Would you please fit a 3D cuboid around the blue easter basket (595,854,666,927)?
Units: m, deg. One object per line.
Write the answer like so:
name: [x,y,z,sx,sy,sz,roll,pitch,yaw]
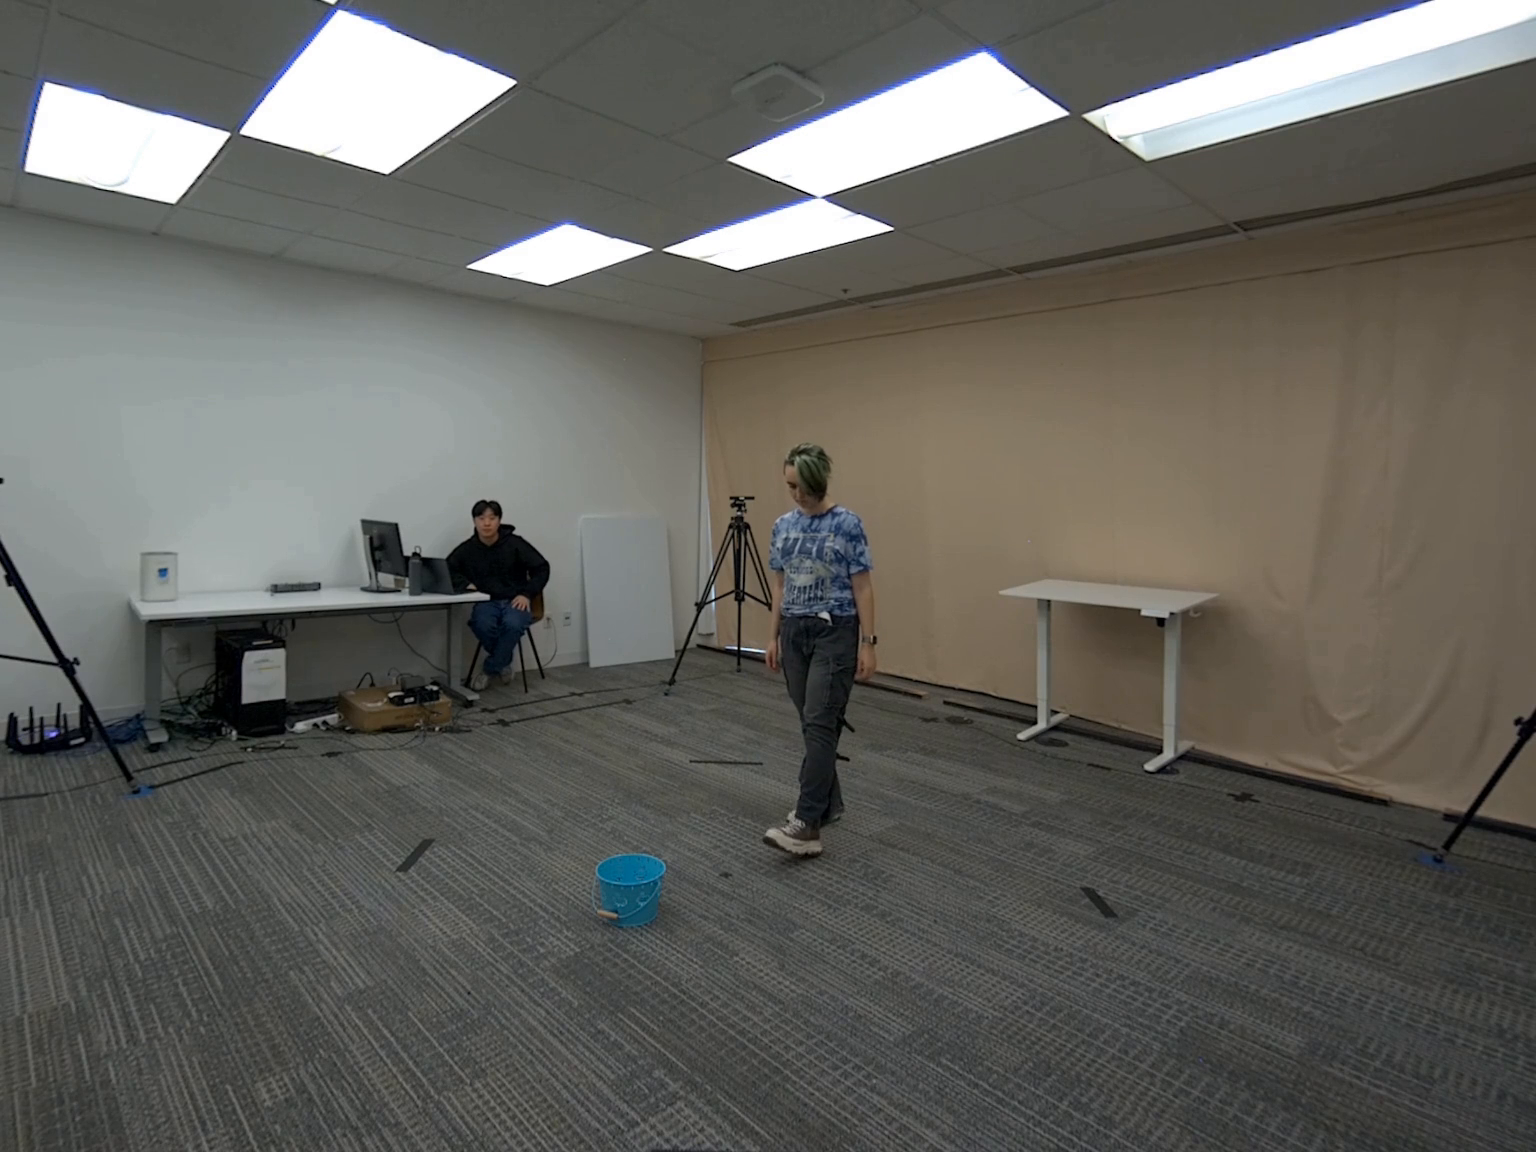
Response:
blue easter basket: [-0.472,1.047,2.801,0.243,0.155,0.244,1,5,-1]
